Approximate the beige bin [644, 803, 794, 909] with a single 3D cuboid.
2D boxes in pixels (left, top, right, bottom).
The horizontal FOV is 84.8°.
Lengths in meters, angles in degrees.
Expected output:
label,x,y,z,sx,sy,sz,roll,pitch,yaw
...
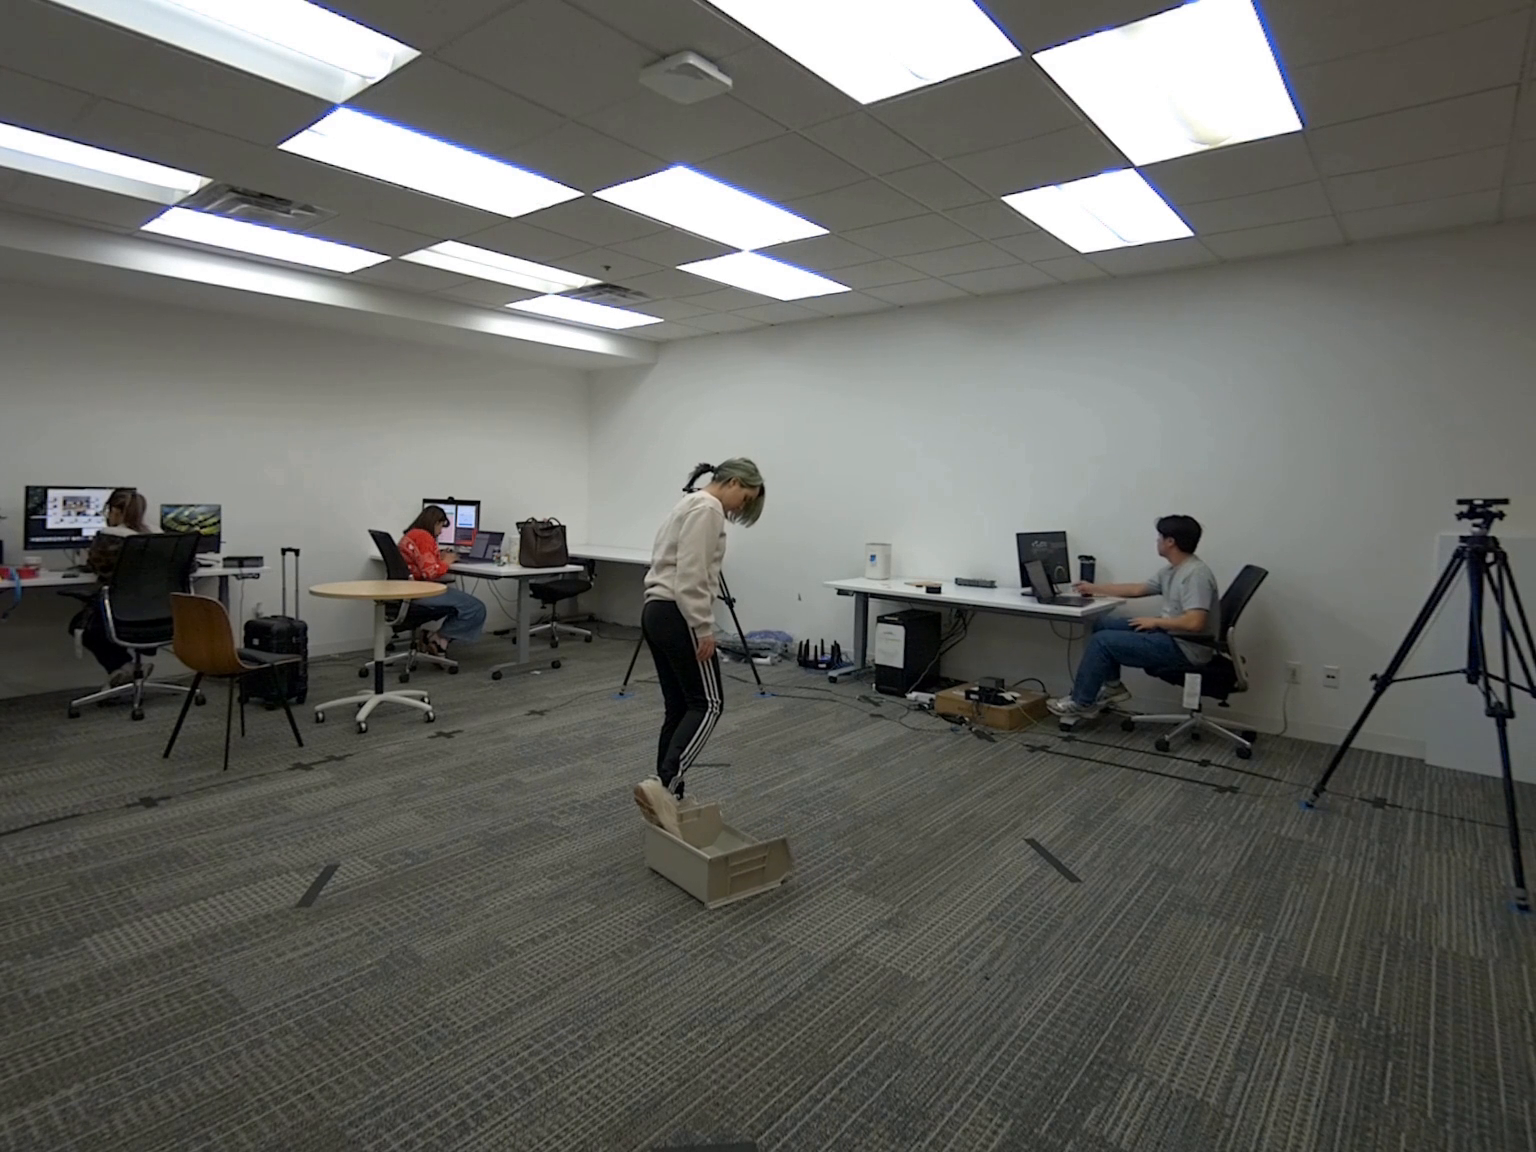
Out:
label,x,y,z,sx,sy,sz,roll,pitch,yaw
beige bin,-0.196,0.983,3.061,0.366,0.188,0.437,-4,8,-39
